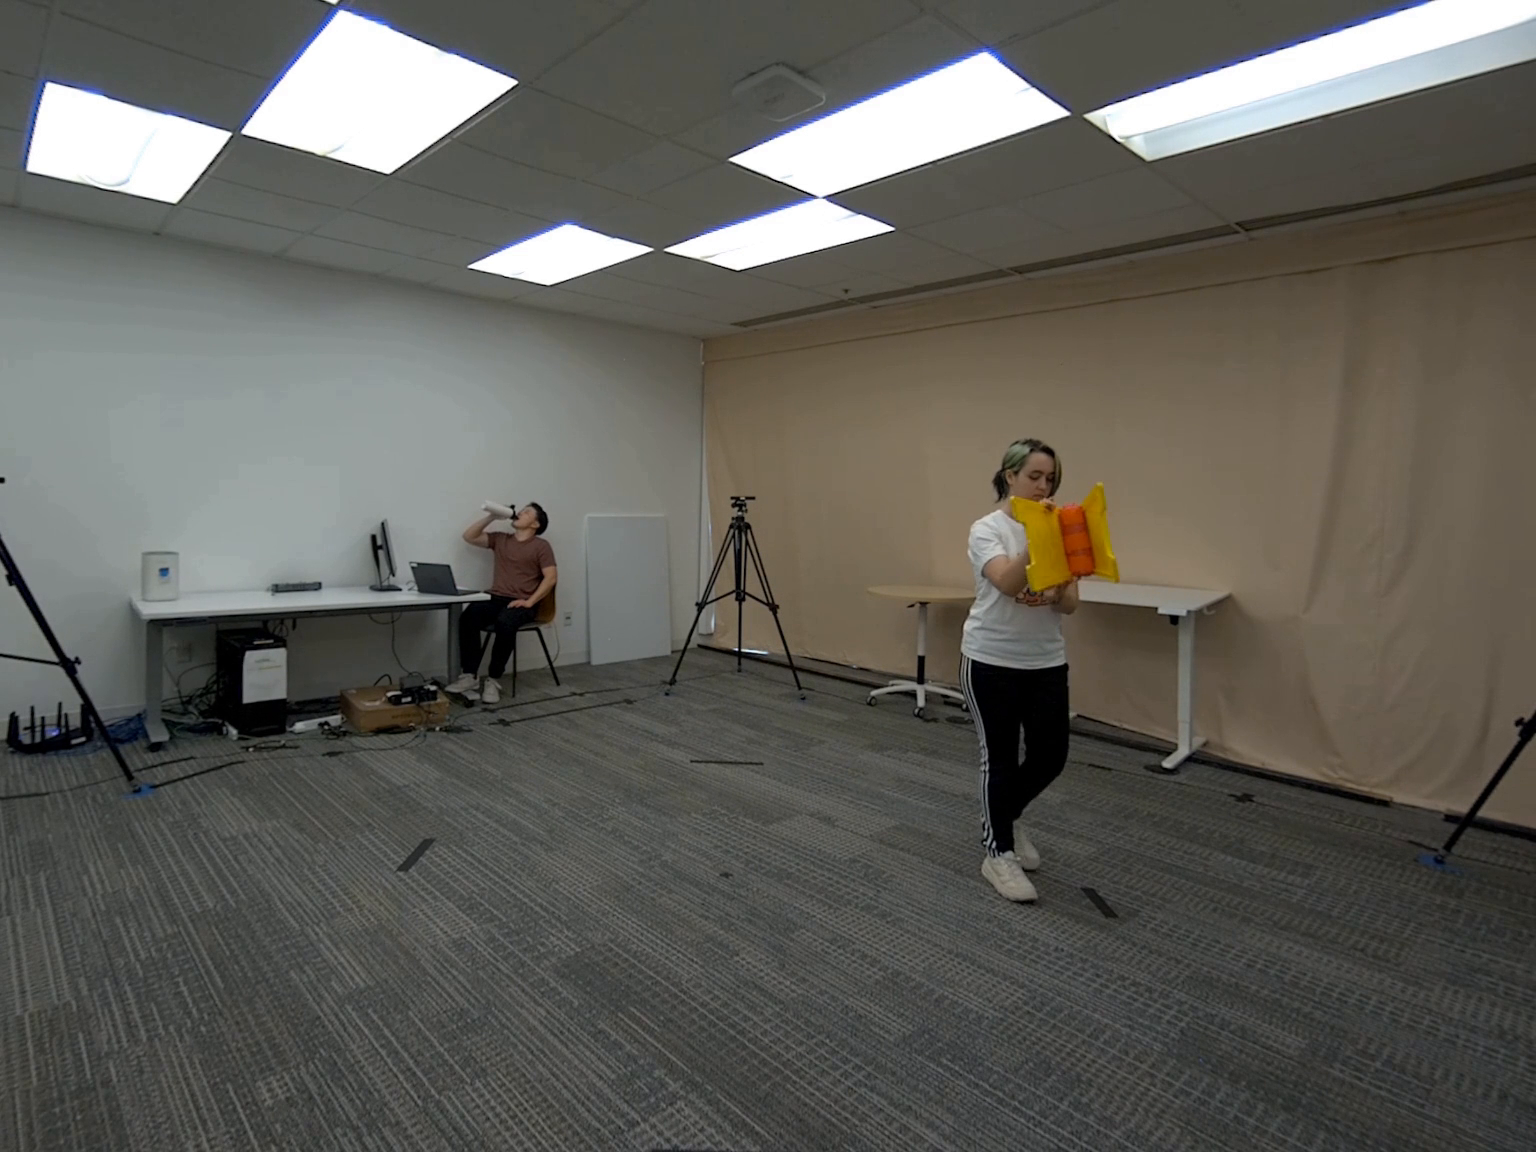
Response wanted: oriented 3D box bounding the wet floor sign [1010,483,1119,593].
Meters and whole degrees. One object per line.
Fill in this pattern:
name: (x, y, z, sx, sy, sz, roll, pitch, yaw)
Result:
wet floor sign: (0.957, -0.105, 2.642, 0.294, 0.283, 0.634, -7, -2, 23)
